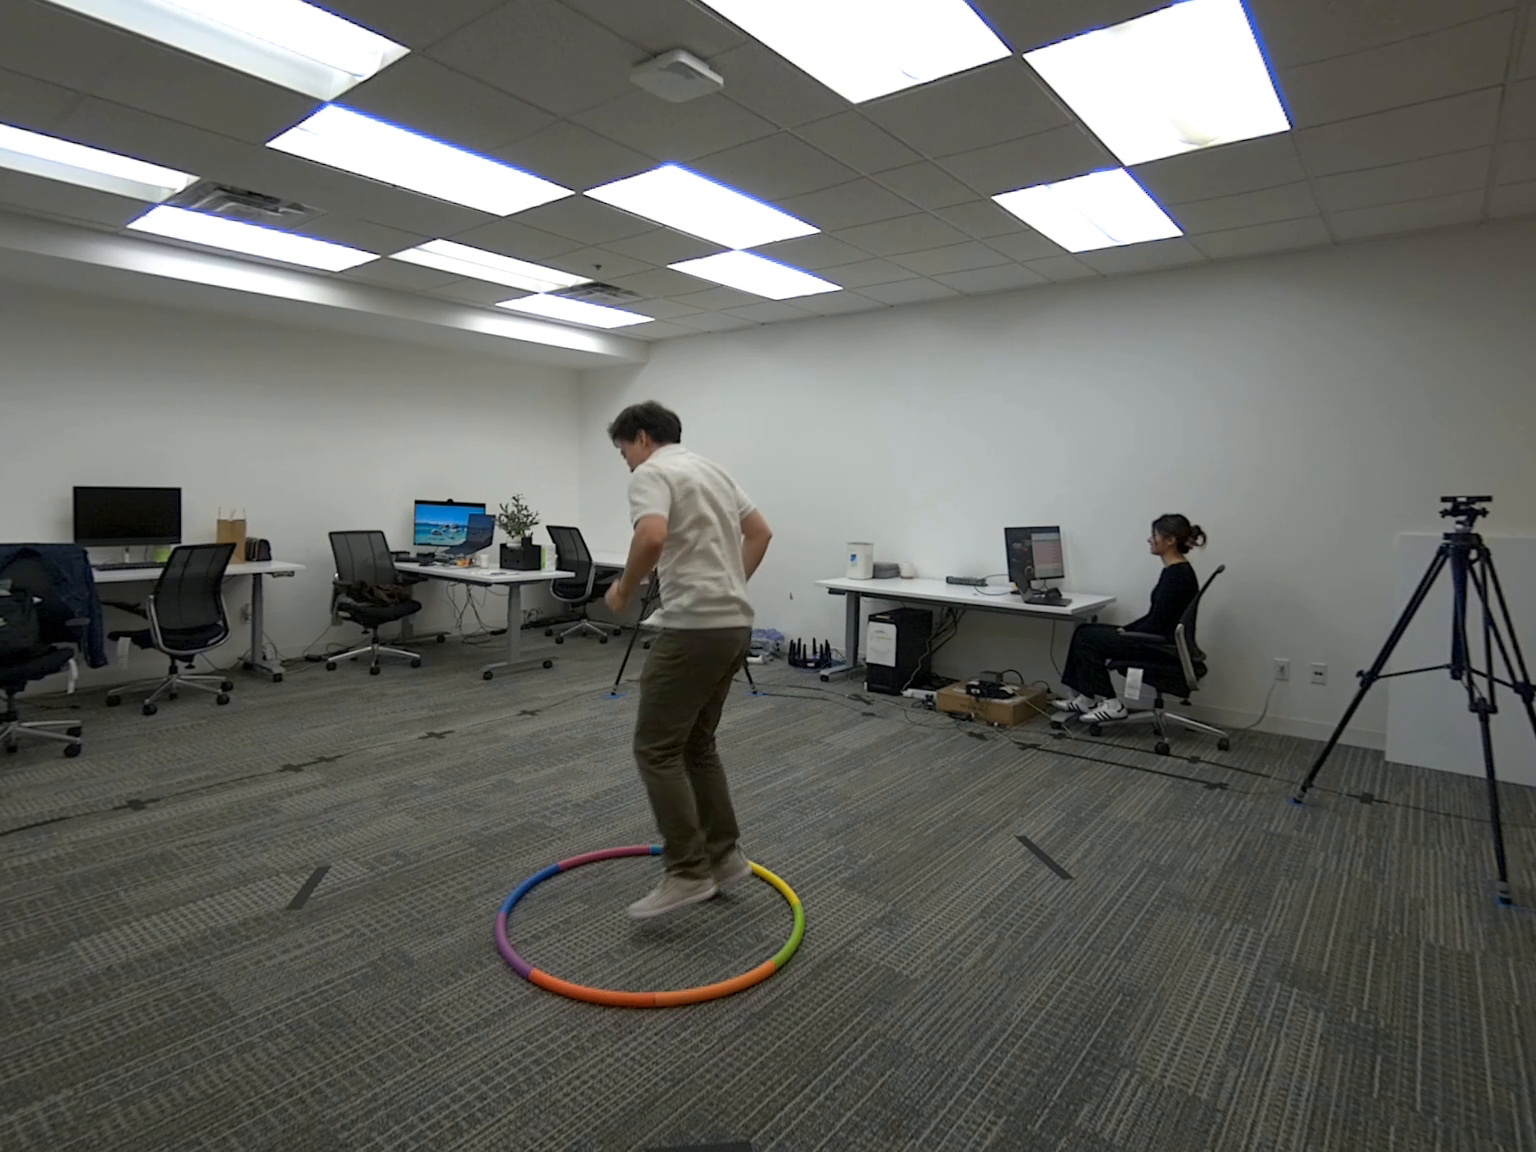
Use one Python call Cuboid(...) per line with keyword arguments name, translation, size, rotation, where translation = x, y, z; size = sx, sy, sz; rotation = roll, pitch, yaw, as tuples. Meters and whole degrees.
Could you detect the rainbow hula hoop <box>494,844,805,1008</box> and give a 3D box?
Cuboid(name="rainbow hula hoop", translation=(-0.383, 1.070, 2.751), size=(0.978, 0.035, 0.984), rotation=(0, 6, -2))
